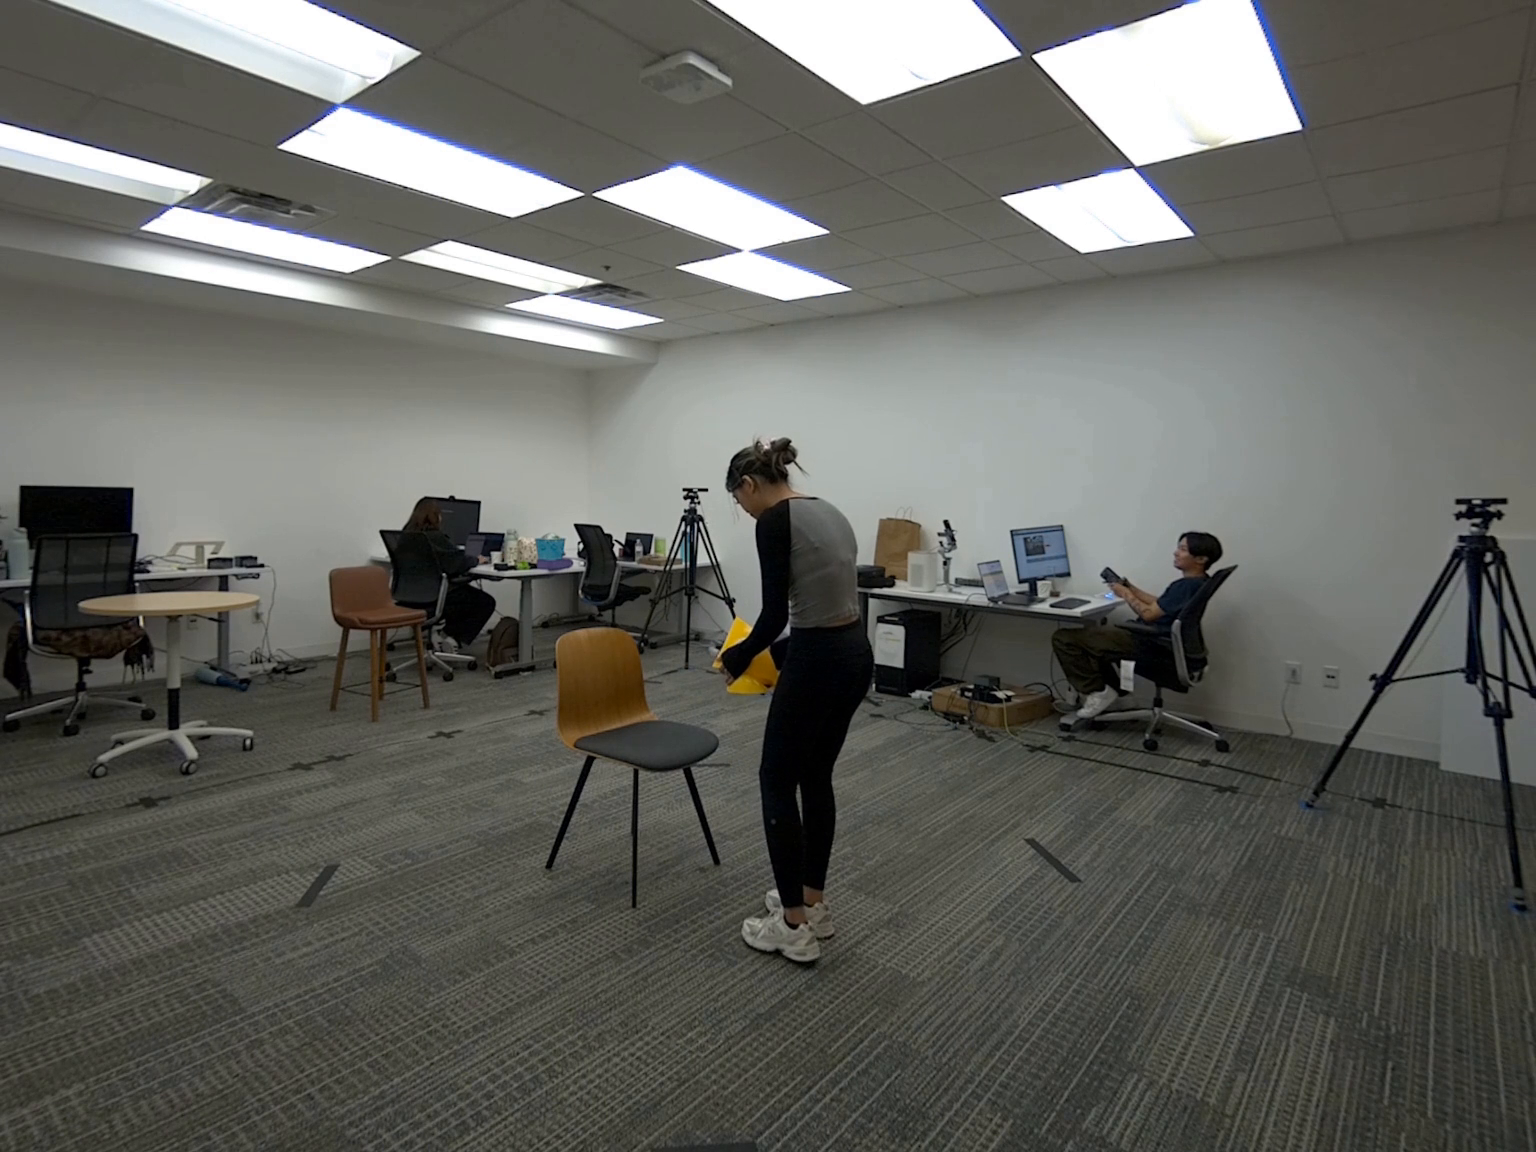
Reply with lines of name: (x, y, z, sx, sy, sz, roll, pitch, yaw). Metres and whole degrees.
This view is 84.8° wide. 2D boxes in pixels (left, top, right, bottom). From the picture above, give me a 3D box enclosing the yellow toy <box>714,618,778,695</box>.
yellow toy: (-0.060, 0.250, 2.788, 0.199, 0.230, 0.199, -1, 2, 35)
